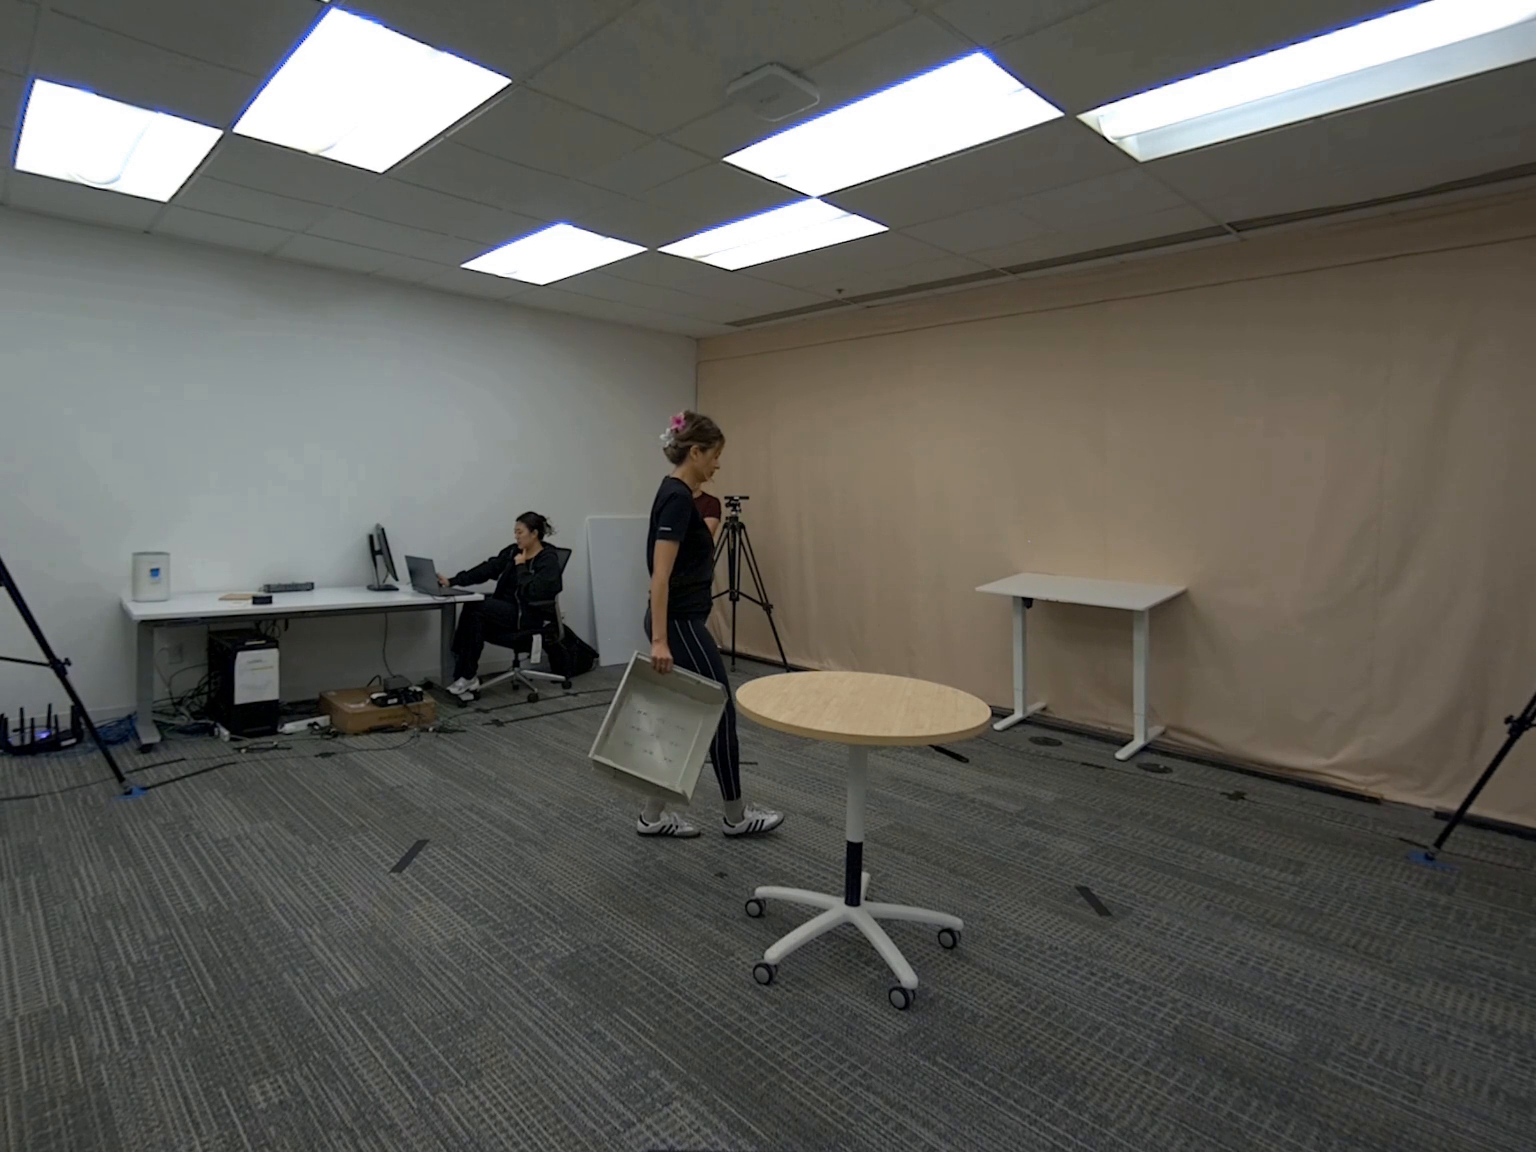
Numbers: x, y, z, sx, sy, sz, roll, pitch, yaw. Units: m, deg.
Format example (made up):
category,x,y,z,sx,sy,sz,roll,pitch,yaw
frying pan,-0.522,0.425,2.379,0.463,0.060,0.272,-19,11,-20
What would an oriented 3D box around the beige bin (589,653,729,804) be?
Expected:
category,x,y,z,sx,sy,sz,roll,pitch,yaw
beige bin,-0.387,0.547,2.984,0.379,0.427,0.186,19,-33,3
